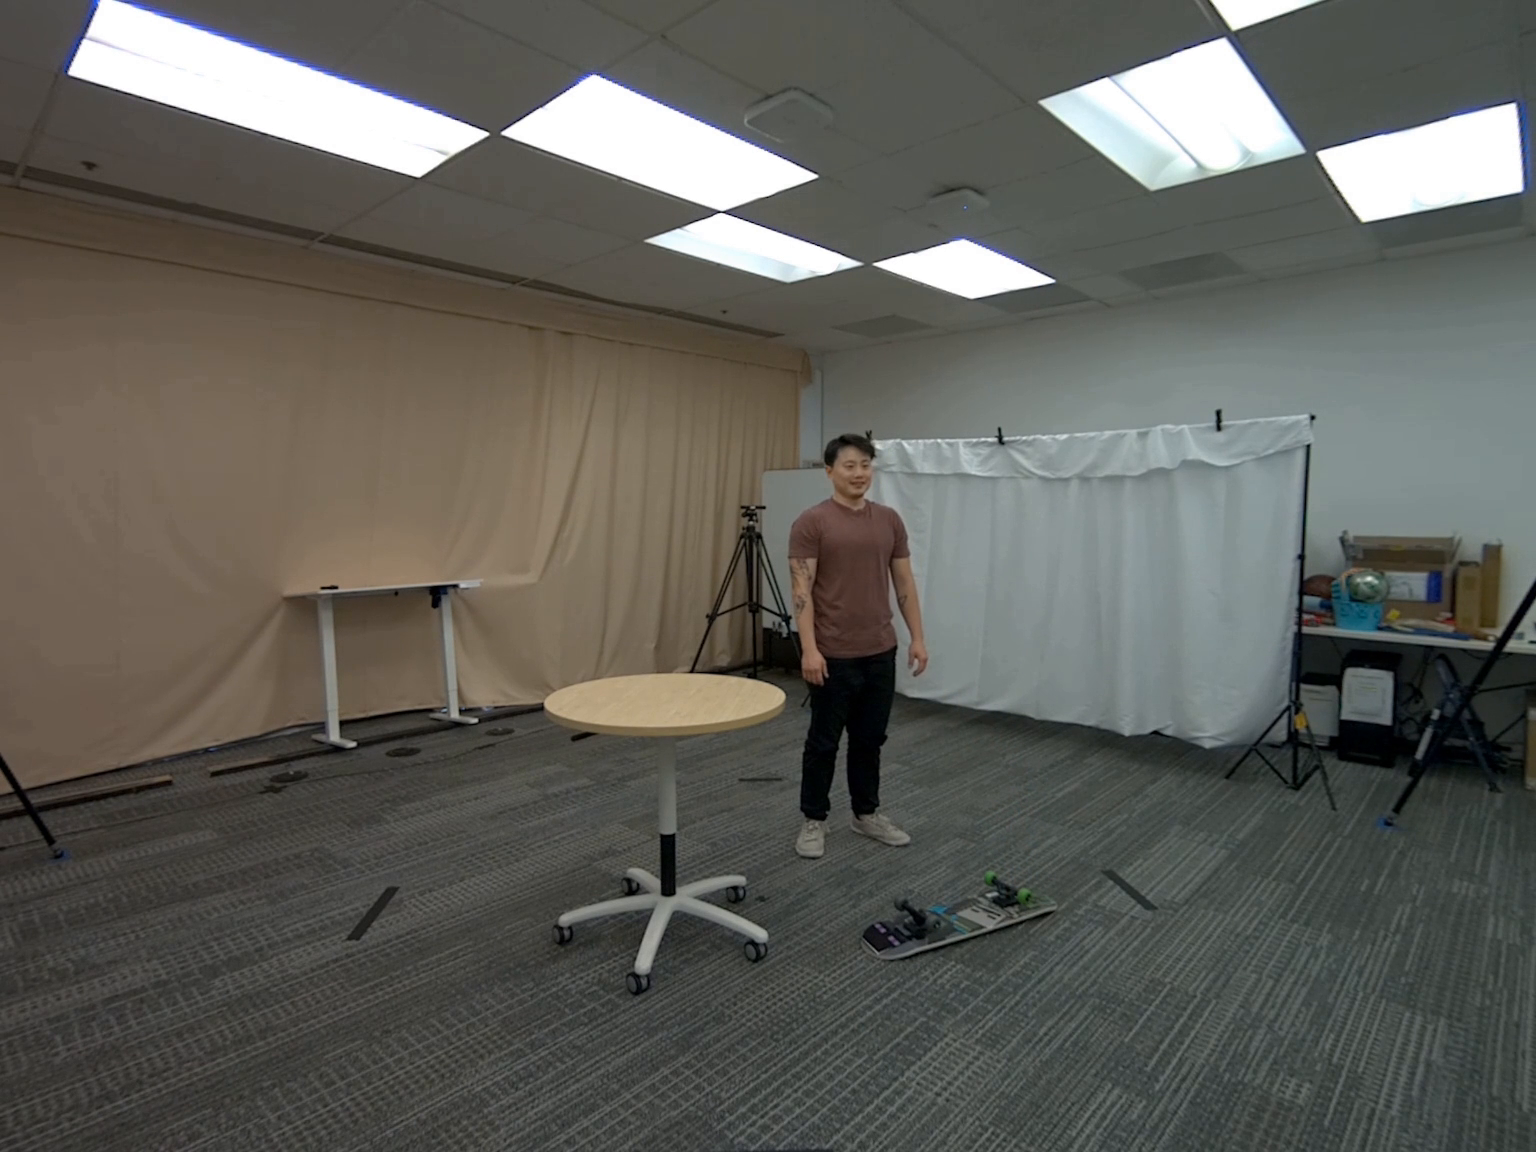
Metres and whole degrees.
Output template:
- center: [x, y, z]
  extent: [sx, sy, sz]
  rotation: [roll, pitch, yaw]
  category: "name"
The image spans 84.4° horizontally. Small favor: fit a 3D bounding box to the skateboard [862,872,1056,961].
- center: [0.649, 1.096, 2.795]
  extent: [0.765, 0.110, 0.199]
  rotation: [-2, 5, -28]
  category: "skateboard"
